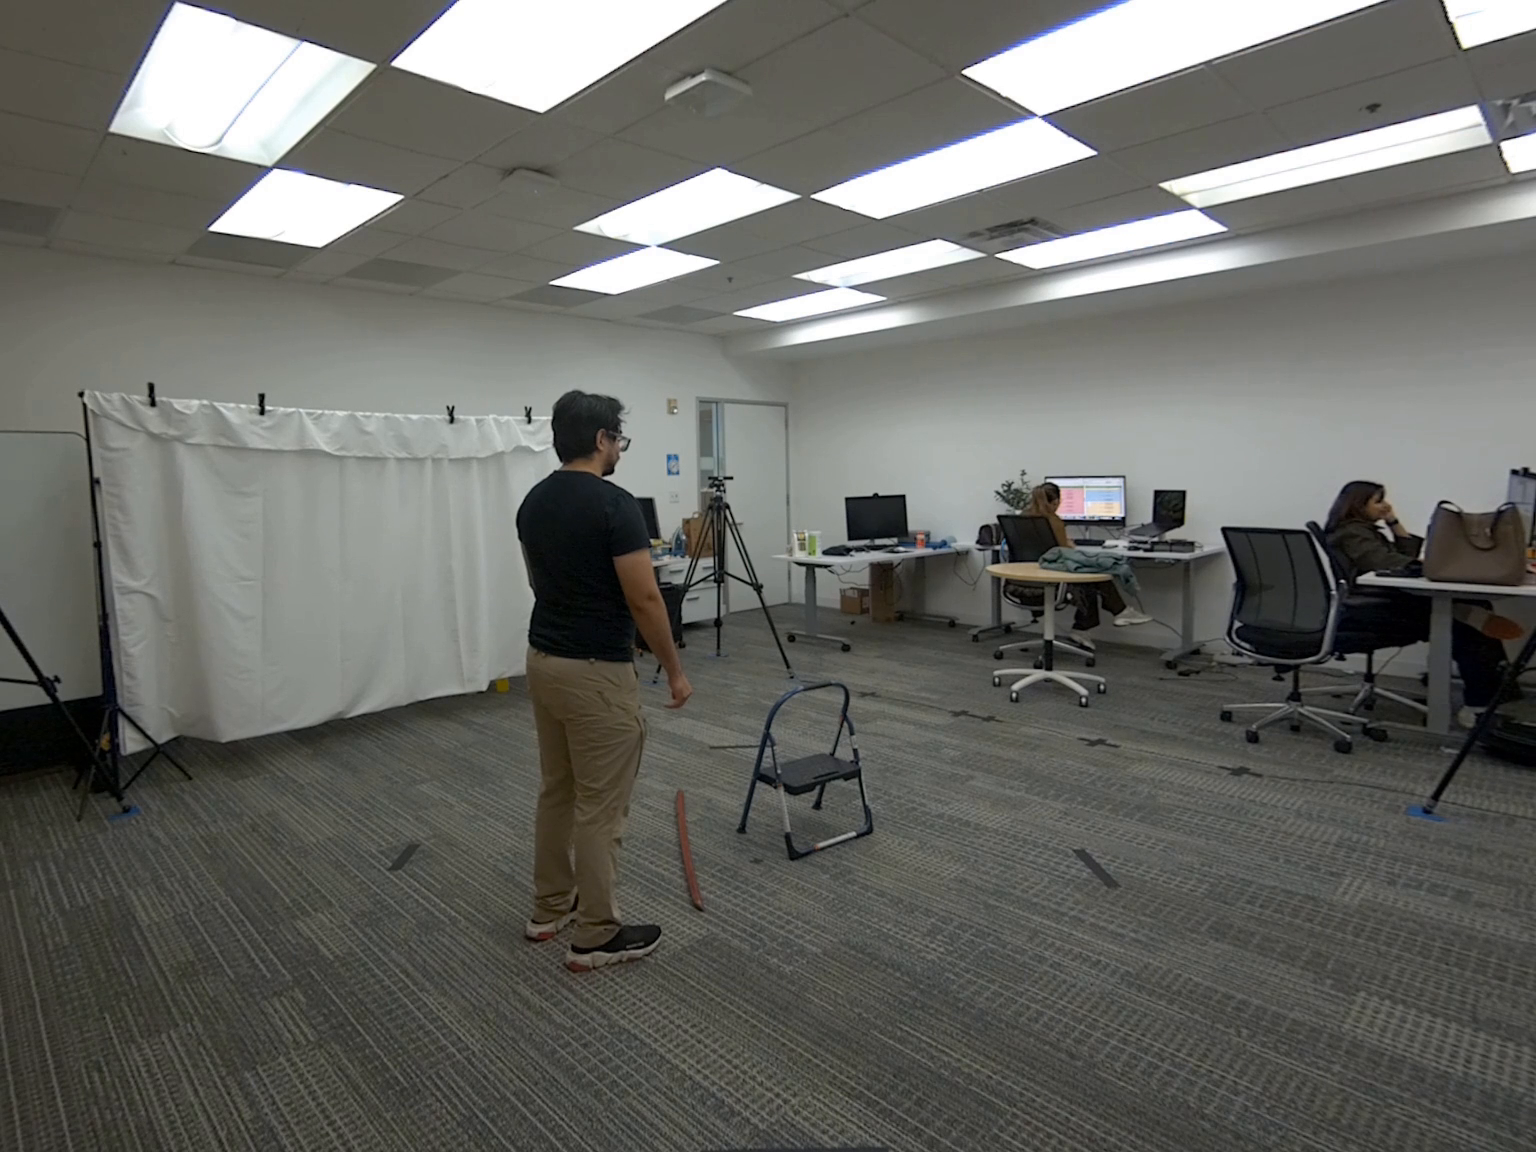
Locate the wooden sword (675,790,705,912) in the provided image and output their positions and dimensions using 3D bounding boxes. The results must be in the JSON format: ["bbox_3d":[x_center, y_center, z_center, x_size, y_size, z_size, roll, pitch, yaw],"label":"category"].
[{"bbox_3d":[-0.306,0.999,3.254,0.024,0.051,1.036,13,4,-10],"label":"wooden sword"}]
